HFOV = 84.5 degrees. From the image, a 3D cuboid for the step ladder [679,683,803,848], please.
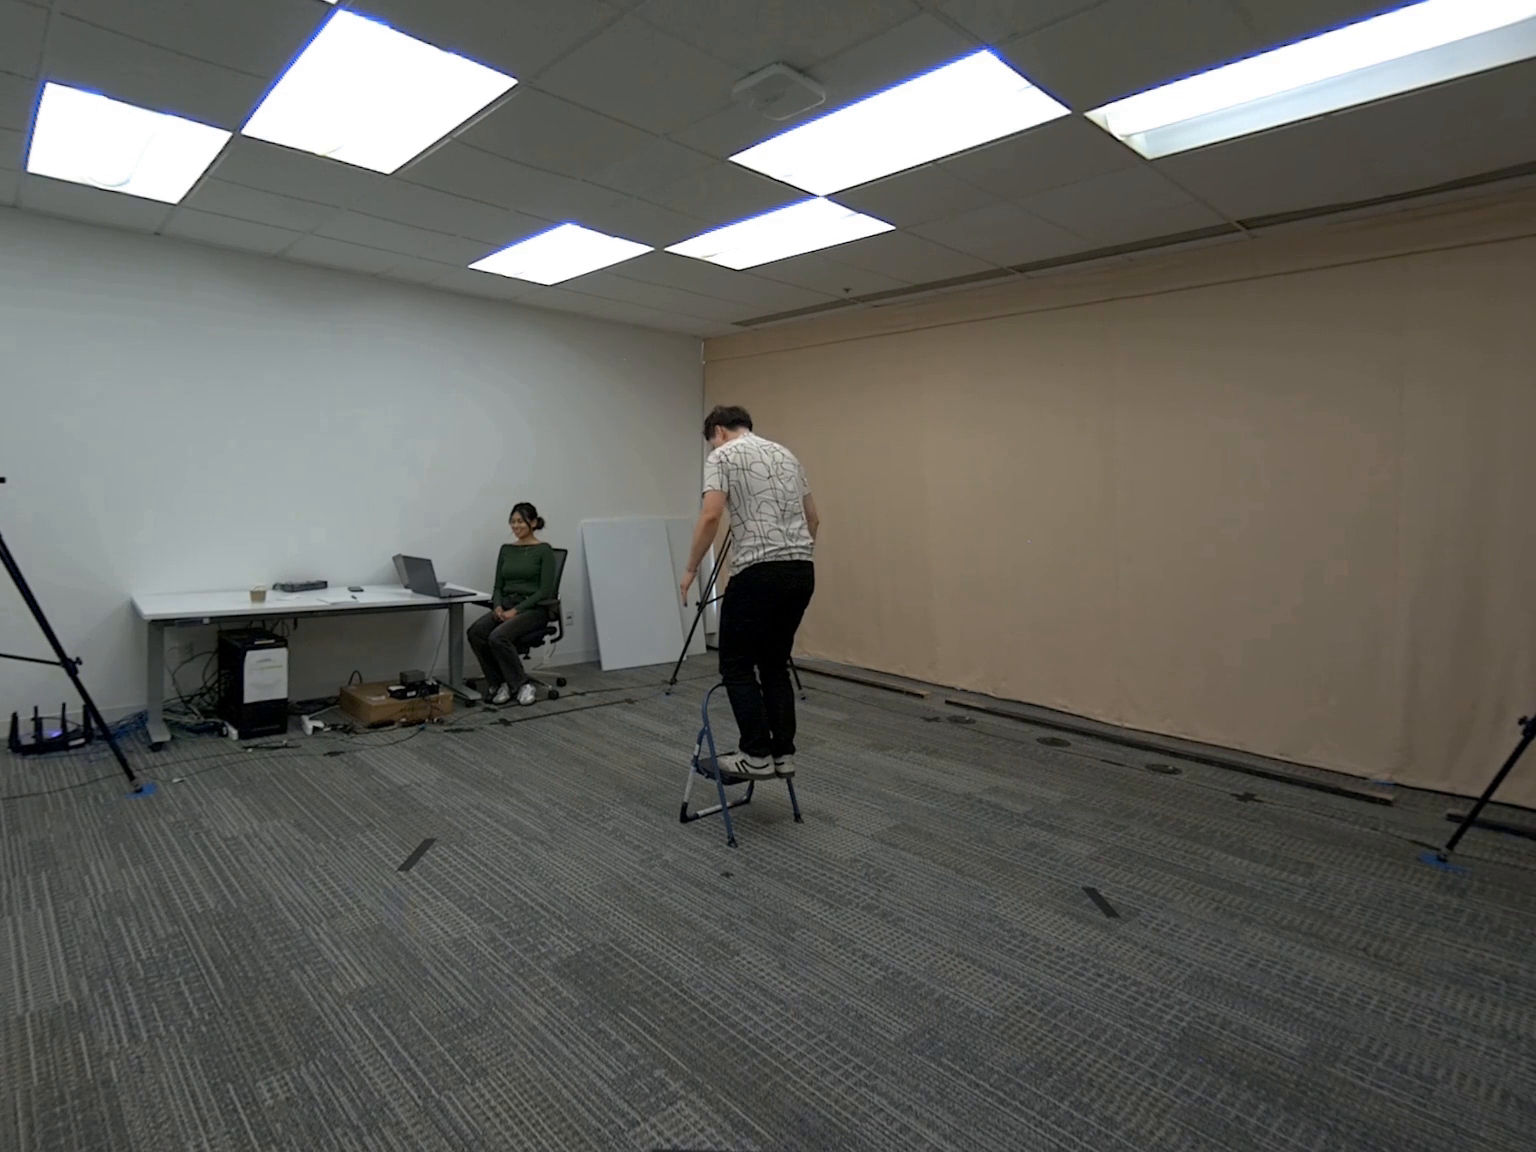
[{"bbox_3d":[-0.115,0.755,3.605,0.358,0.605,0.421,4,4,44],"label":"step ladder"}]
